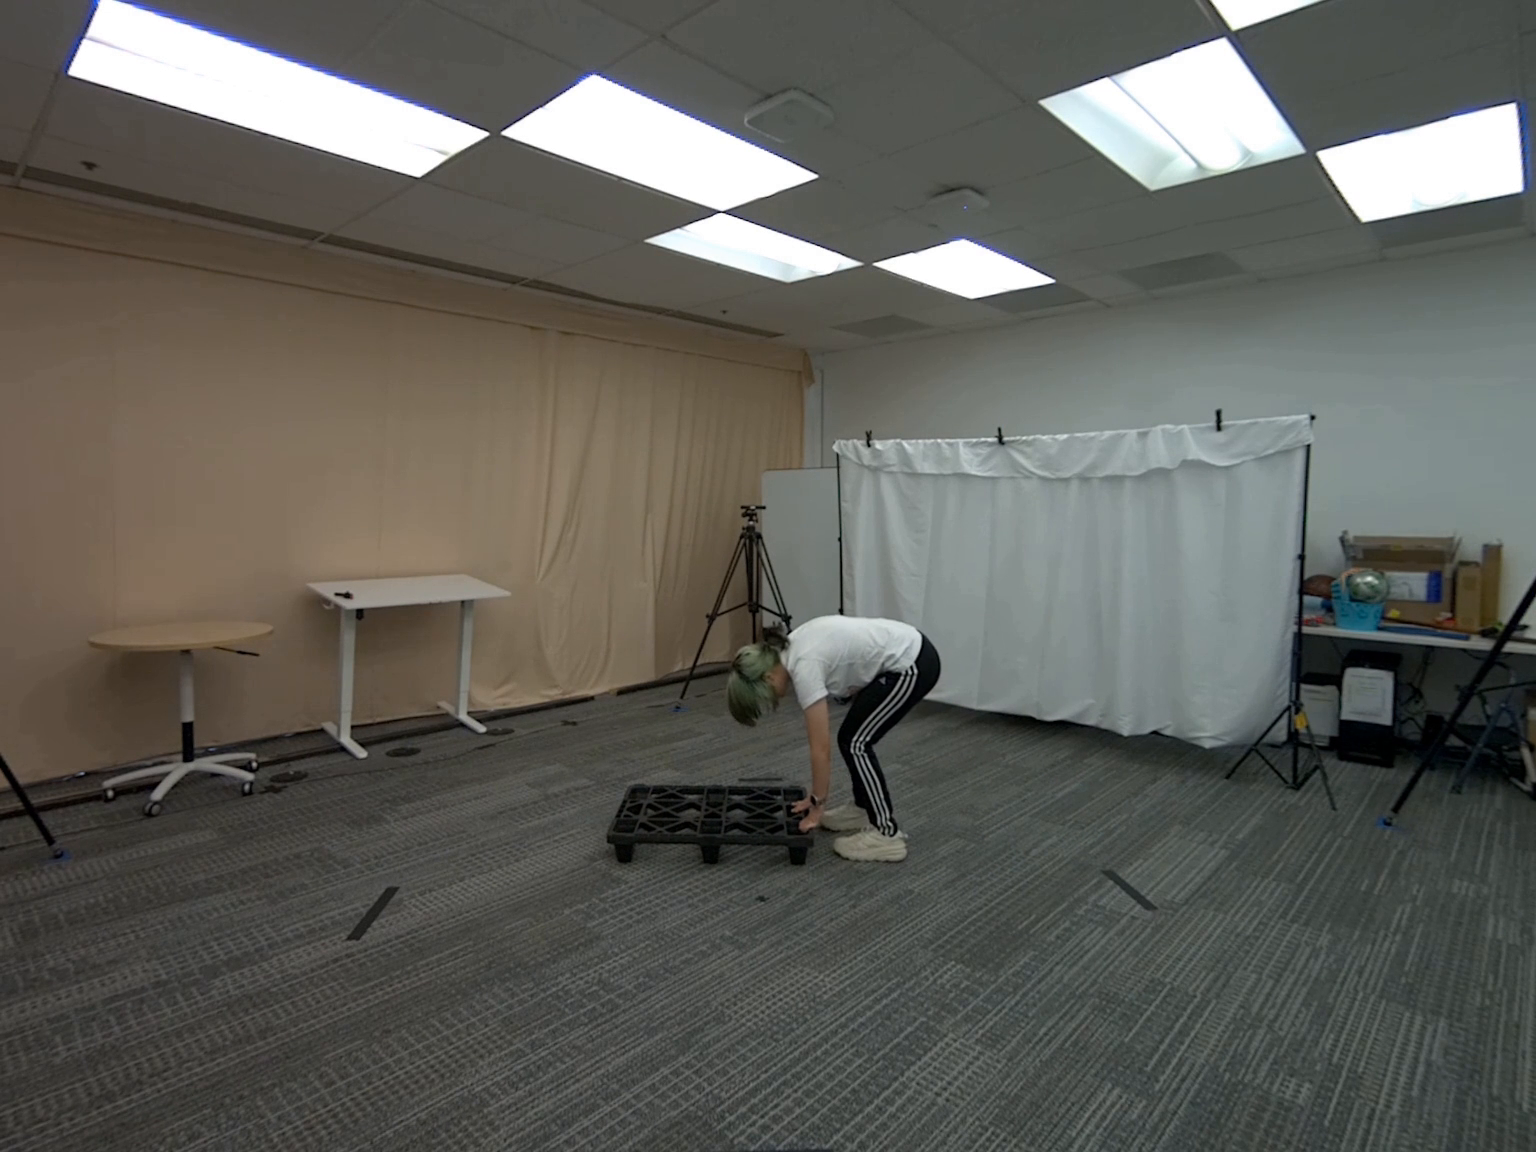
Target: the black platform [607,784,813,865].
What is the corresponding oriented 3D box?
[{"bbox_3d":[-0.228,1.033,3.511,0.808,0.143,0.605,0,4,1],"label":"black platform"}]
